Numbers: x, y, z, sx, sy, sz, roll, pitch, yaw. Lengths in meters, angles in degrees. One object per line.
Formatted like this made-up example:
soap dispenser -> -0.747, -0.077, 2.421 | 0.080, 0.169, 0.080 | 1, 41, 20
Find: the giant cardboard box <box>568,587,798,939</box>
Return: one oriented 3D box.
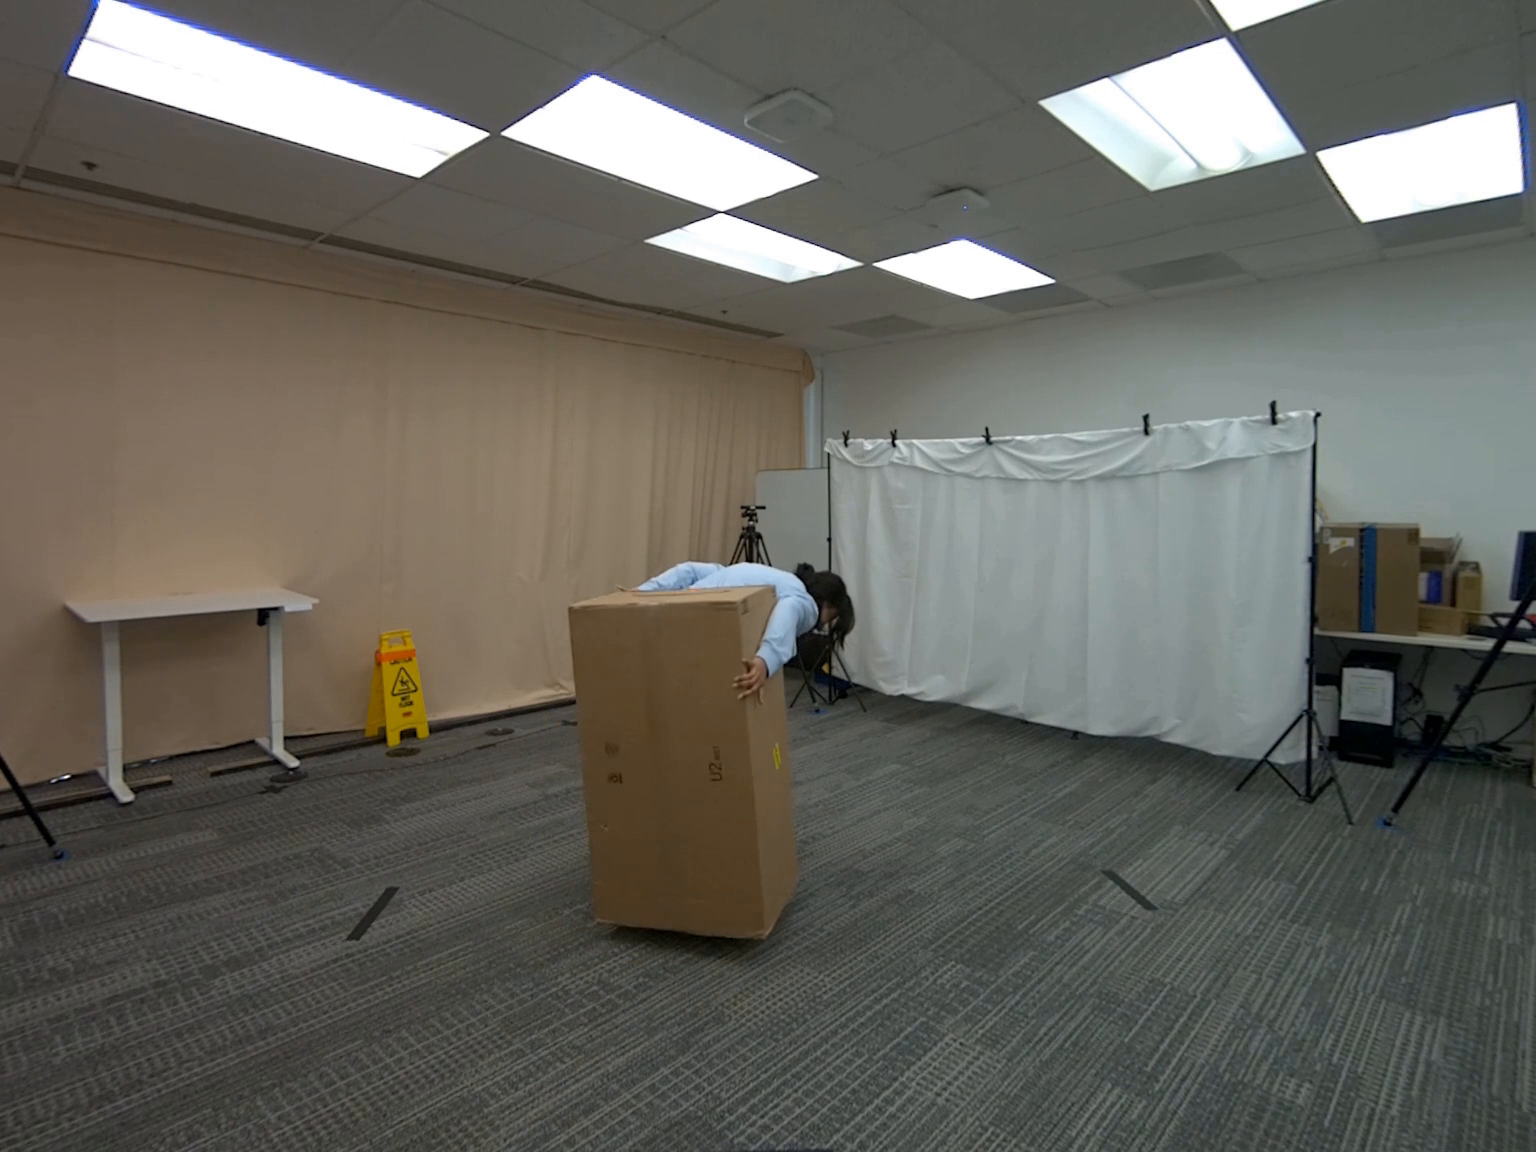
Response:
giant cardboard box -> -0.263, 0.572, 2.769 | 0.588, 1.024, 0.419 | -4, 3, 18
